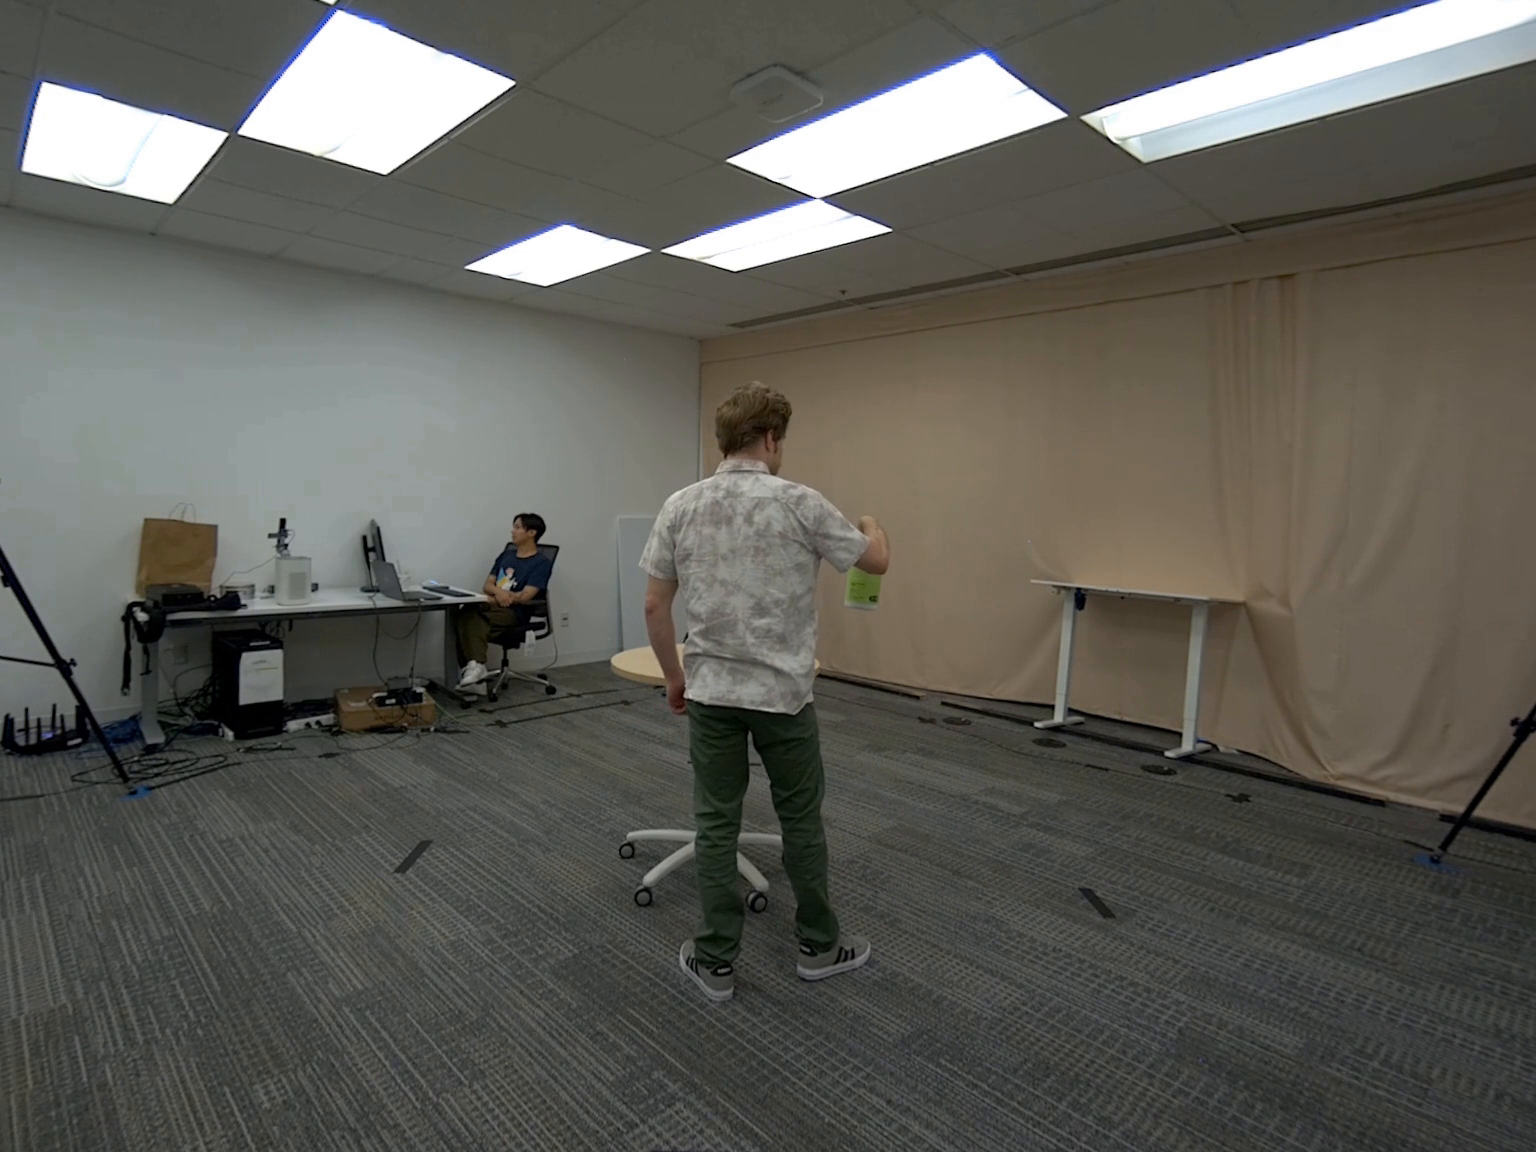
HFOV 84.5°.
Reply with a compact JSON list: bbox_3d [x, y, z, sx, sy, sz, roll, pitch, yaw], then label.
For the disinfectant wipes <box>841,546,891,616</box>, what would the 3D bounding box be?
[{"bbox_3d":[0.312,0.005,2.733,0.118,0.217,0.118,6,1,-2],"label":"disinfectant wipes"}]
